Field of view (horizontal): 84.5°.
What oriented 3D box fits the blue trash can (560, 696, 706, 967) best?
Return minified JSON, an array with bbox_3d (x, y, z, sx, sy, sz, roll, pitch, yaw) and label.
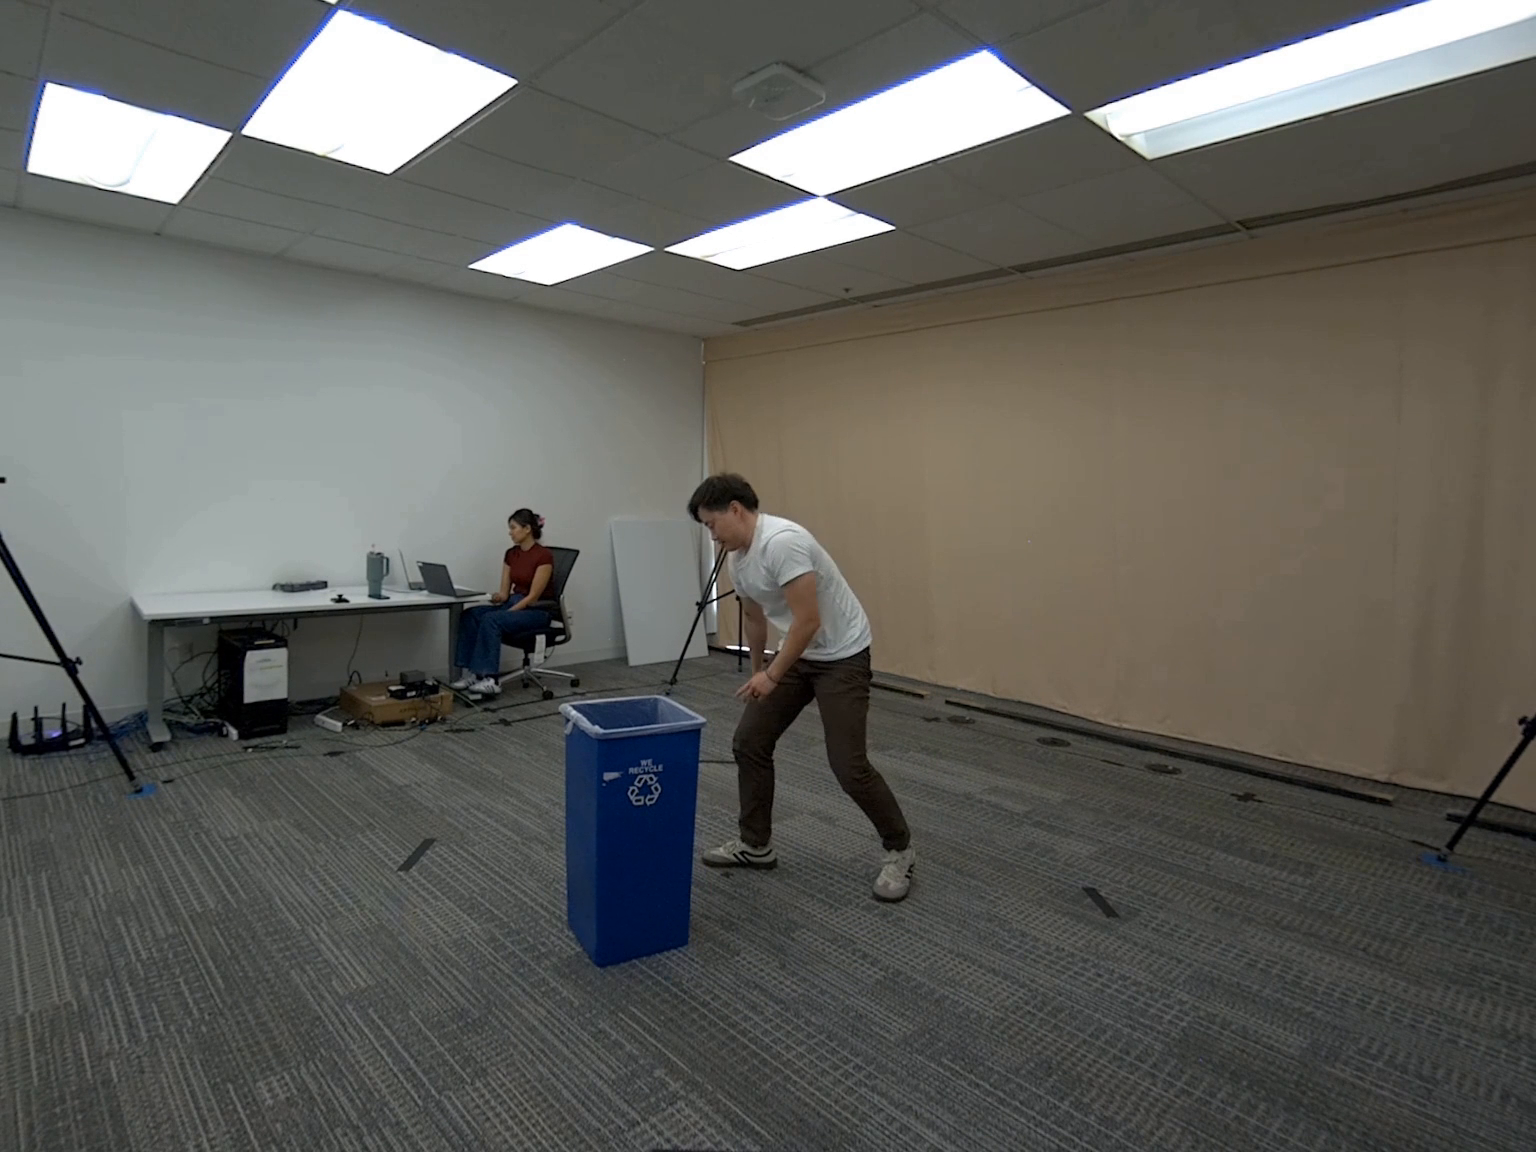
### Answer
[{"bbox_3d":[-0.440,0.781,2.642,0.370,0.712,0.382,0,3,-31],"label":"blue trash can"}]
